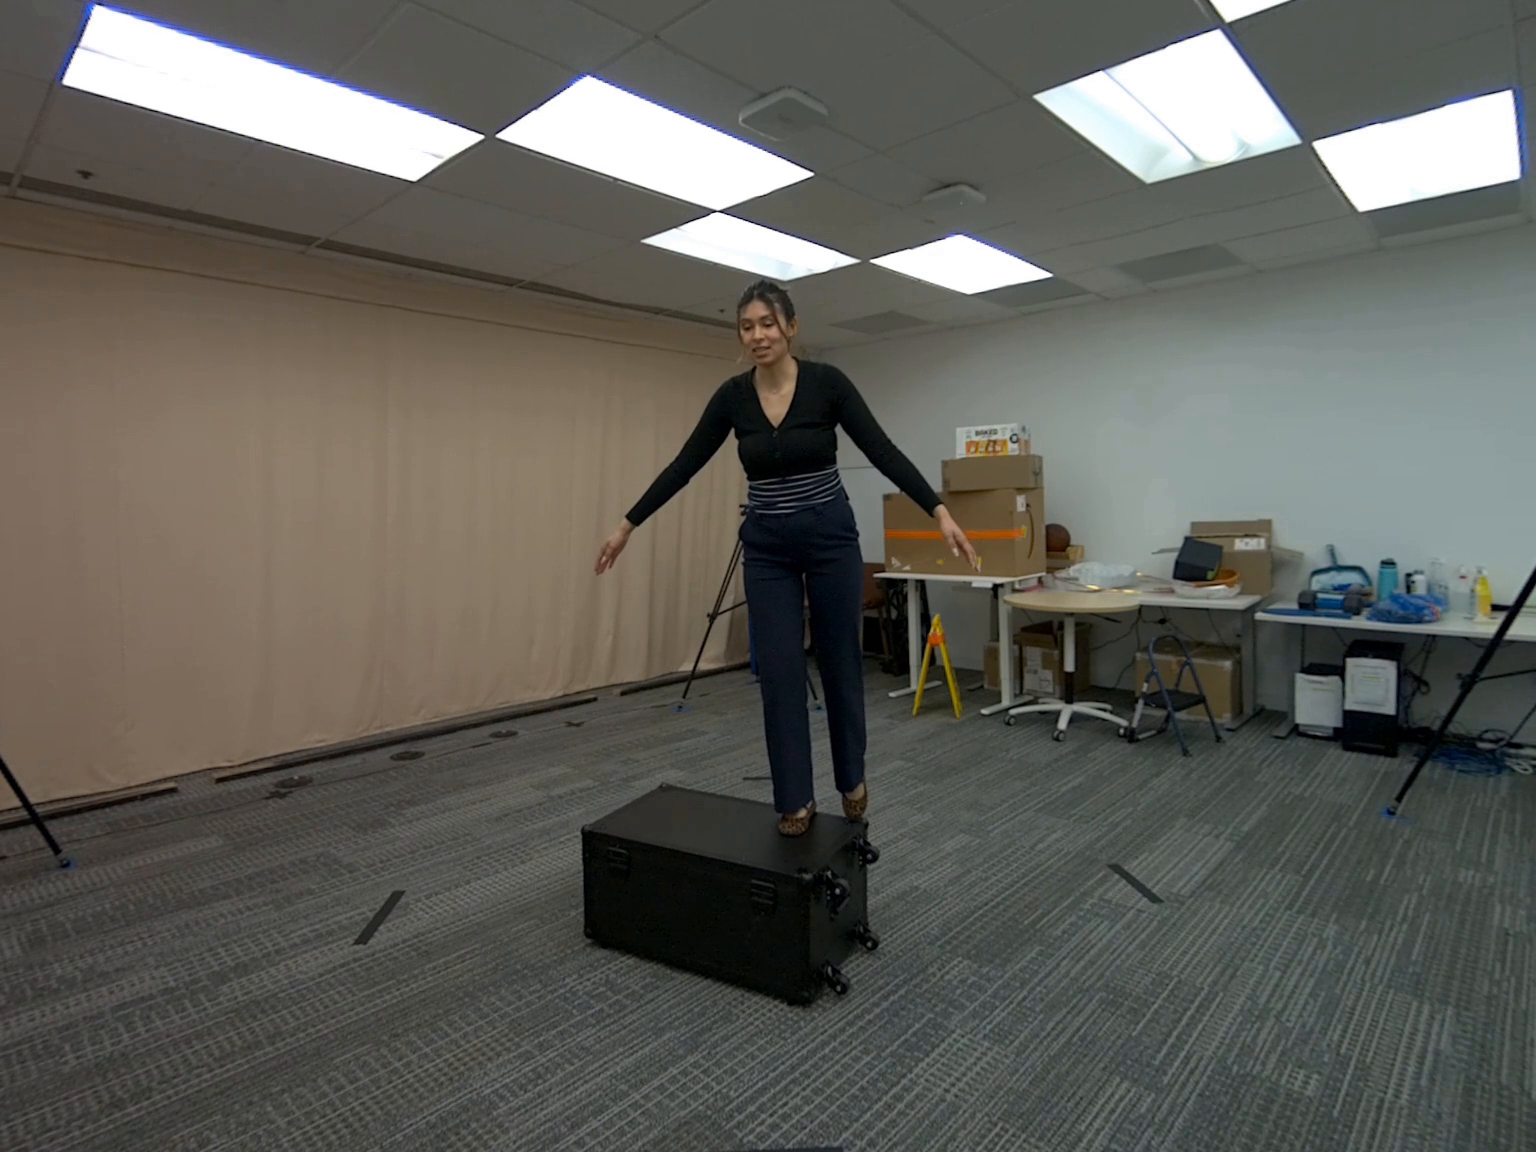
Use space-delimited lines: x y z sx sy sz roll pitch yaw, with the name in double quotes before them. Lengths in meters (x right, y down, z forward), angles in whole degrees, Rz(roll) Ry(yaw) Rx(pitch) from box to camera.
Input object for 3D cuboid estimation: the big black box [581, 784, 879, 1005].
"big black box" -0.104 0.981 2.672 0.885 0.395 0.508 1 4 28
